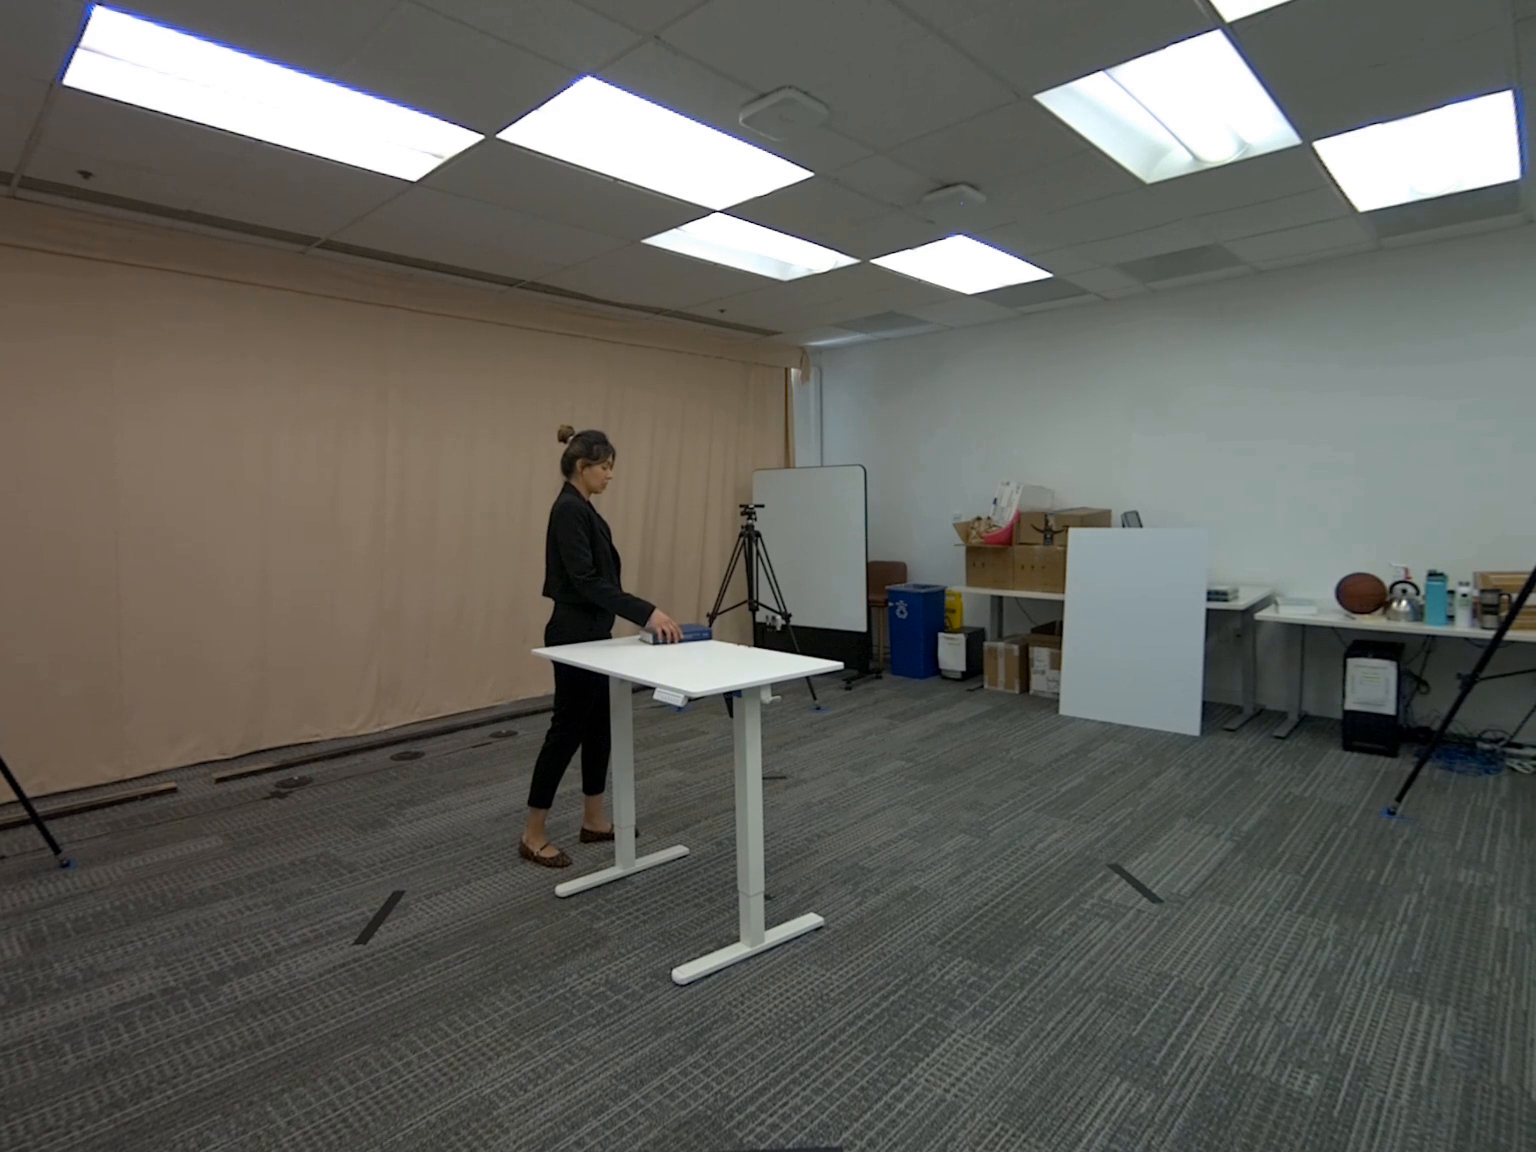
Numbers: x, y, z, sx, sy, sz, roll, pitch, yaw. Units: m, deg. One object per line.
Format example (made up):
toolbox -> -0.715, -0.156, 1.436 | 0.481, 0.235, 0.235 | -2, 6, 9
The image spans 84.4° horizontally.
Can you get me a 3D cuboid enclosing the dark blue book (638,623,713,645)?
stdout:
dark blue book -> -0.362, 0.225, 3.246 | 0.240, 0.045, 0.167 | -4, 6, -23
